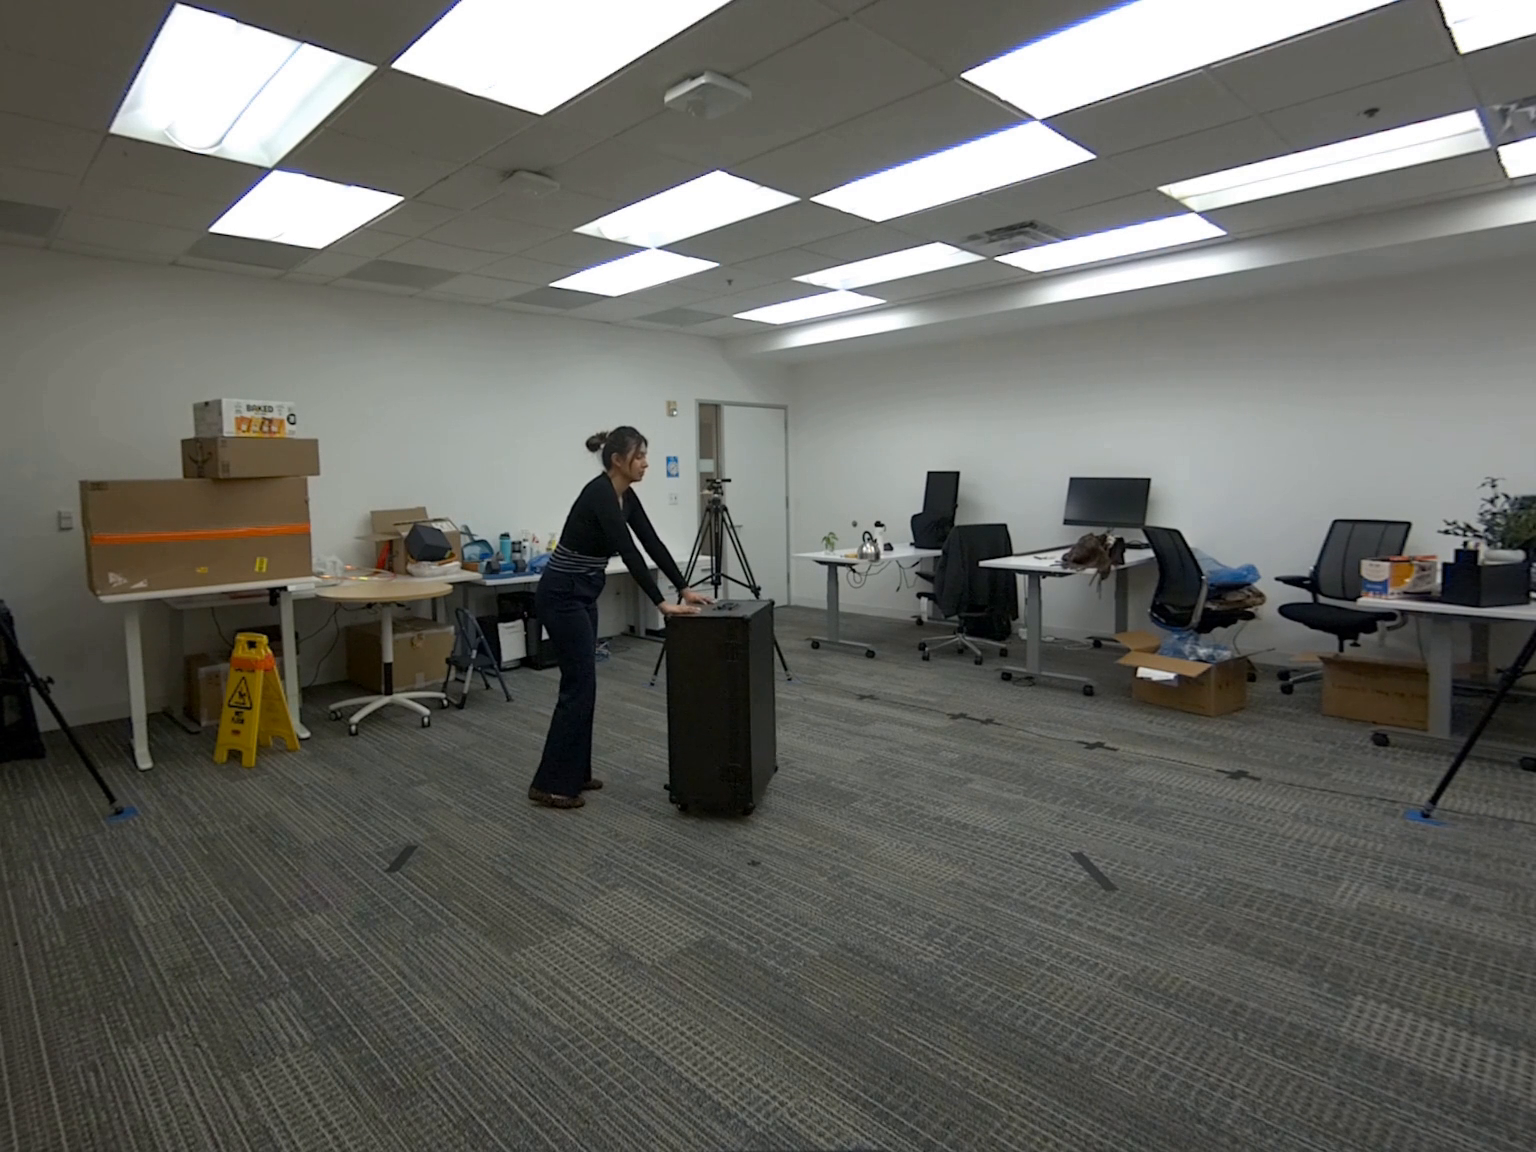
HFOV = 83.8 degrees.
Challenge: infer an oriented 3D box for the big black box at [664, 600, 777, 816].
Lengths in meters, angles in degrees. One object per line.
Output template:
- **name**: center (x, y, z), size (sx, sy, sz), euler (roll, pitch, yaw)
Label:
- **big black box**: center (-0.199, 0.558, 3.675), size (0.402, 0.859, 0.516), euler (-1, 4, 14)
